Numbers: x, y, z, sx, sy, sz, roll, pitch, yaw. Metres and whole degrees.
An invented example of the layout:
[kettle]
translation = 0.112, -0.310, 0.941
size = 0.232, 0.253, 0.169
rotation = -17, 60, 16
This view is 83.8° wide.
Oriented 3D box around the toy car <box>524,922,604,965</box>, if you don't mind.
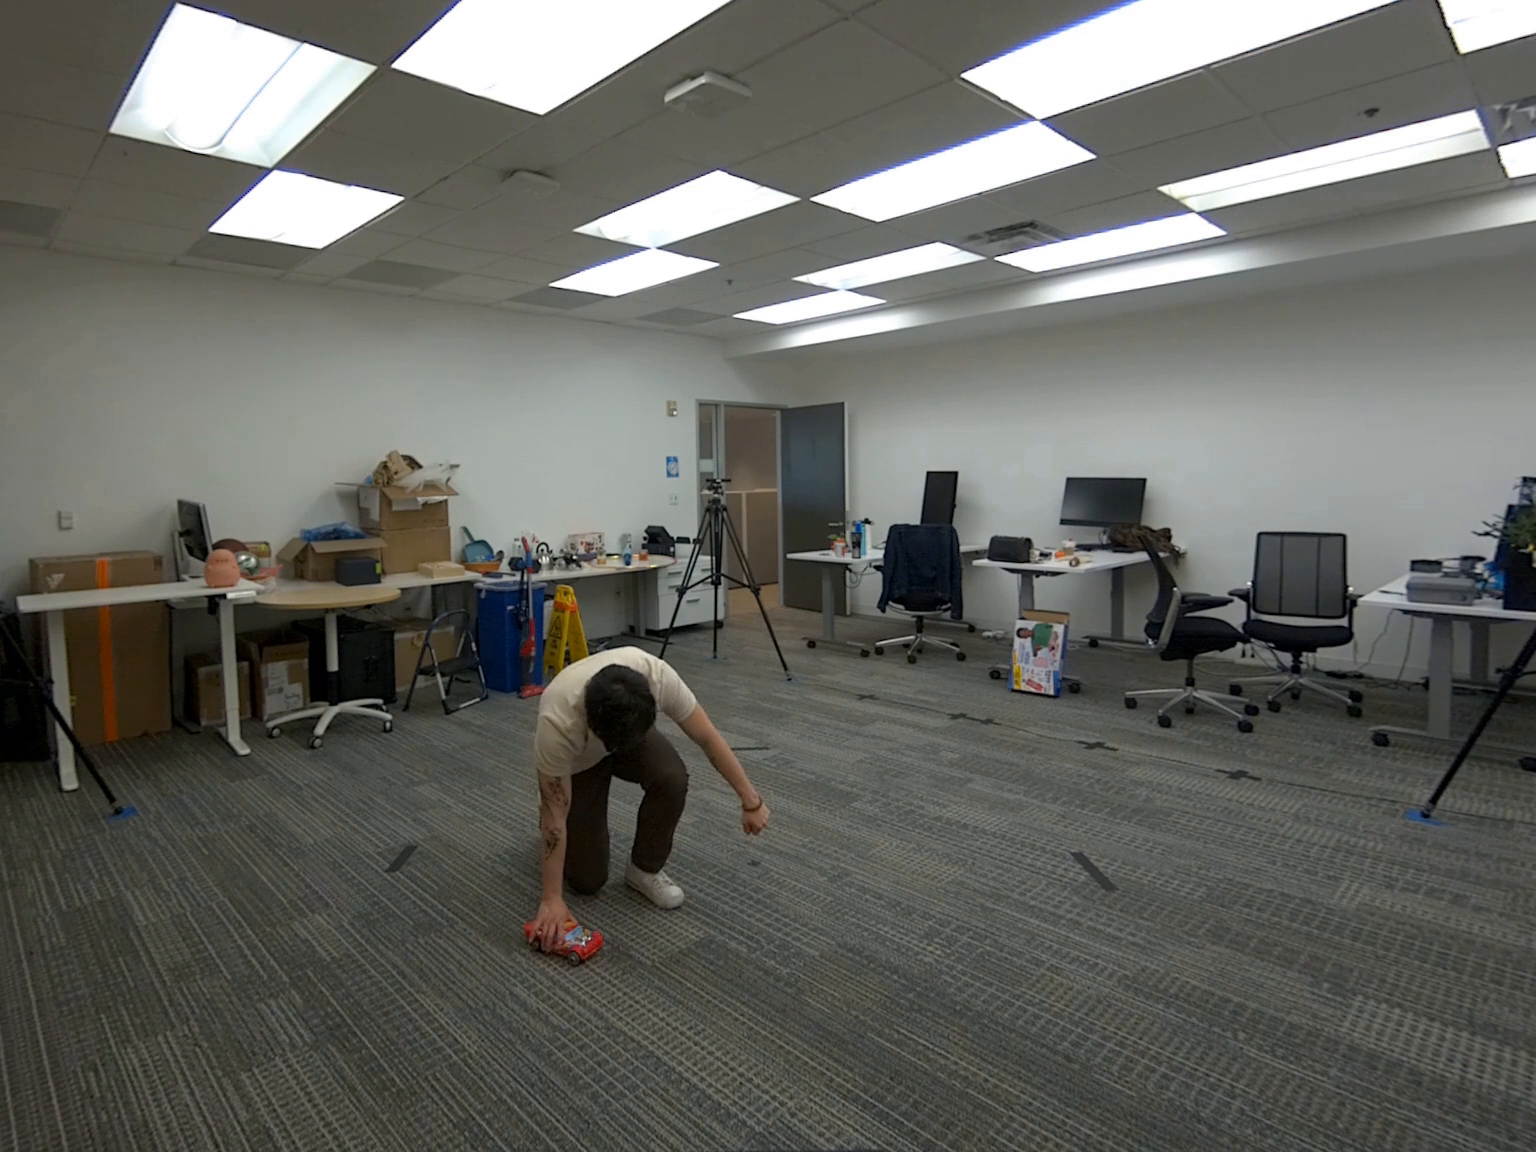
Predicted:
[toy car]
translation = -0.616, 1.091, 2.567
size = 0.262, 0.082, 0.127
rotation = 13, 13, 28
